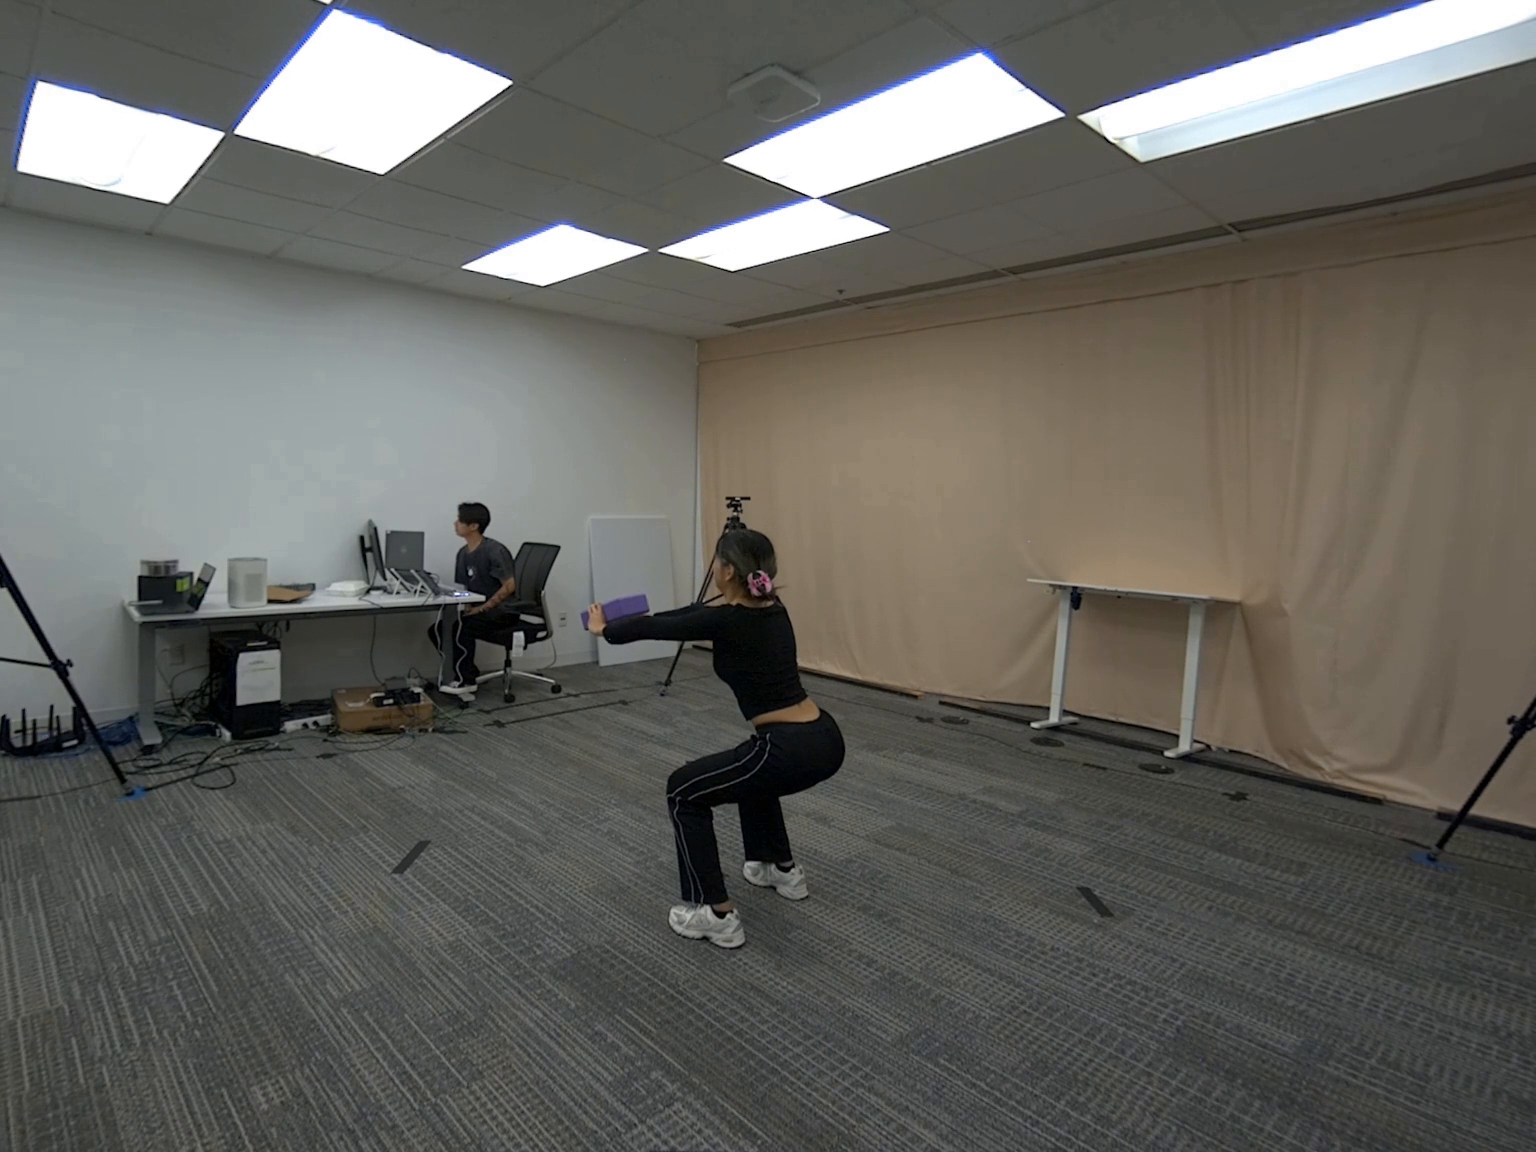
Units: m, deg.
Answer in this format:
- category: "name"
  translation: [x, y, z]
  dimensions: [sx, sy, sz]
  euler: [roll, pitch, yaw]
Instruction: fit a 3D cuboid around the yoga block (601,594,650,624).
- category: "yoga block"
  translation: [-0.583, 0.127, 3.140]
  dimensions: [0.233, 0.077, 0.146]
  euler: [-18, -4, 36]
